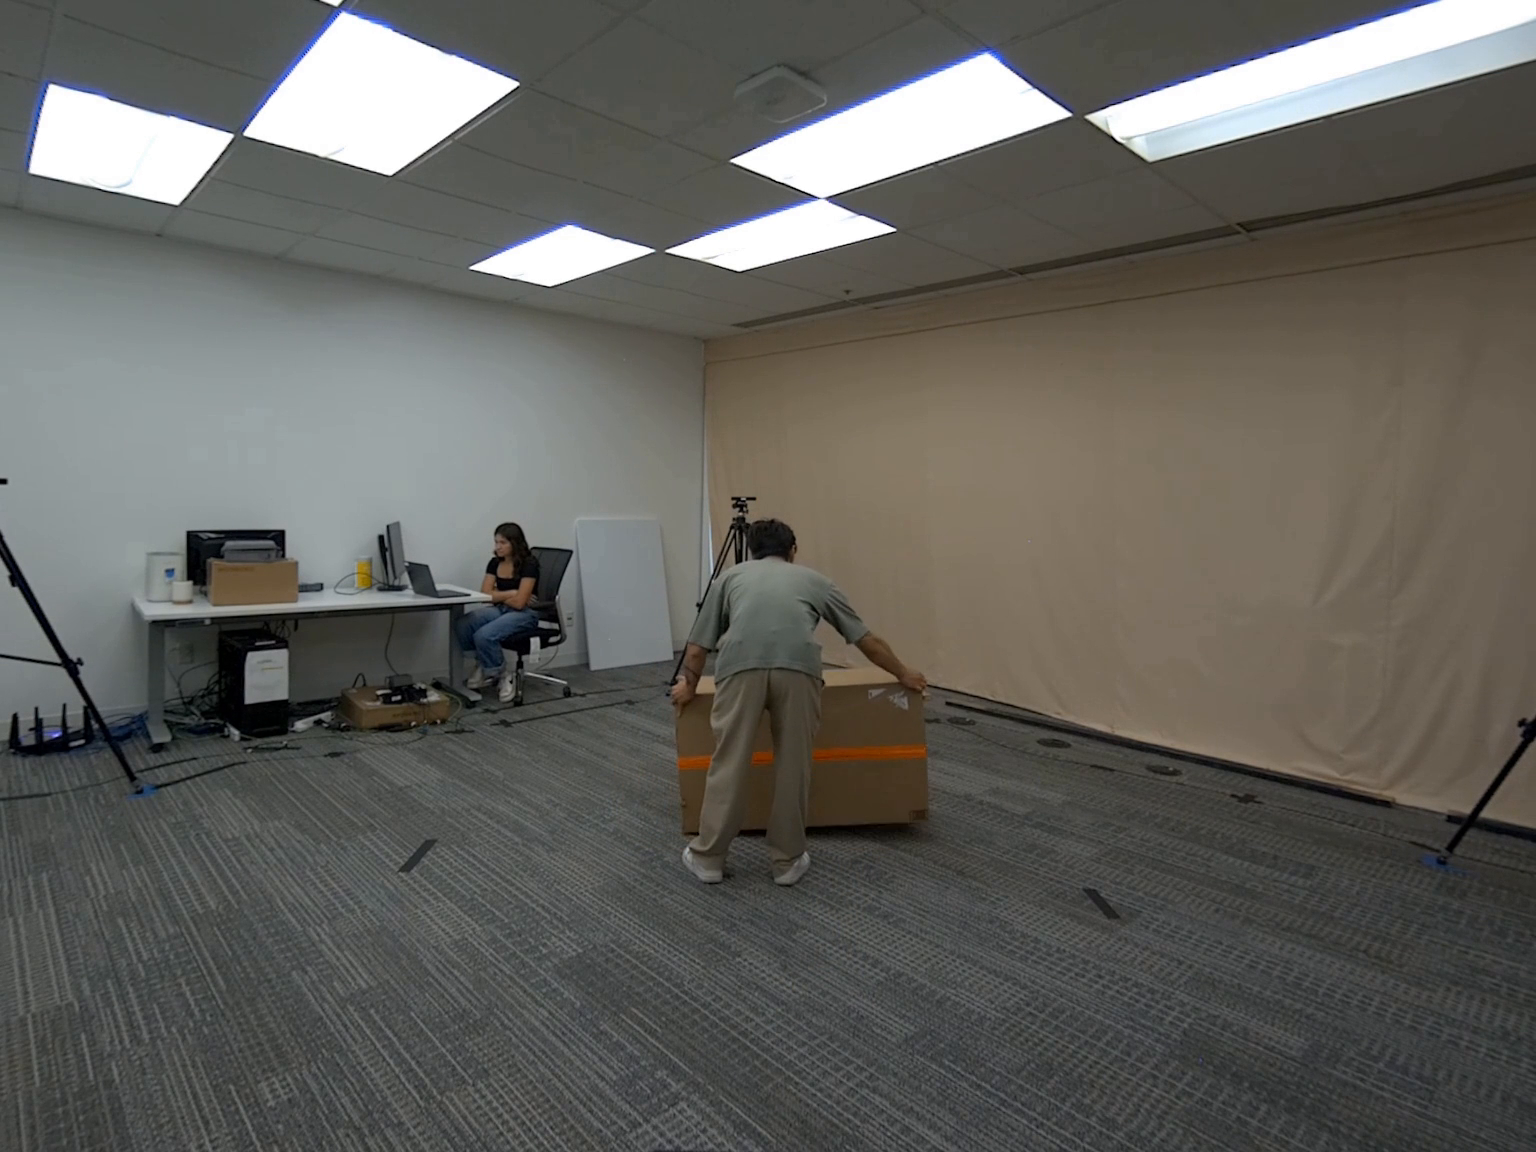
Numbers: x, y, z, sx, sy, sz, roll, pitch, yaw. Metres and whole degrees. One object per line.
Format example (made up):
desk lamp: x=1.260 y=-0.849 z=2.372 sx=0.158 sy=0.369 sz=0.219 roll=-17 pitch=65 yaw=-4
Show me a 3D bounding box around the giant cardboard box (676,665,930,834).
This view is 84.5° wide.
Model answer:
giant cardboard box: x=0.129 y=0.723 z=3.652 sx=1.026 sy=0.577 sz=0.426 roll=-3 pitch=1 yaw=1
